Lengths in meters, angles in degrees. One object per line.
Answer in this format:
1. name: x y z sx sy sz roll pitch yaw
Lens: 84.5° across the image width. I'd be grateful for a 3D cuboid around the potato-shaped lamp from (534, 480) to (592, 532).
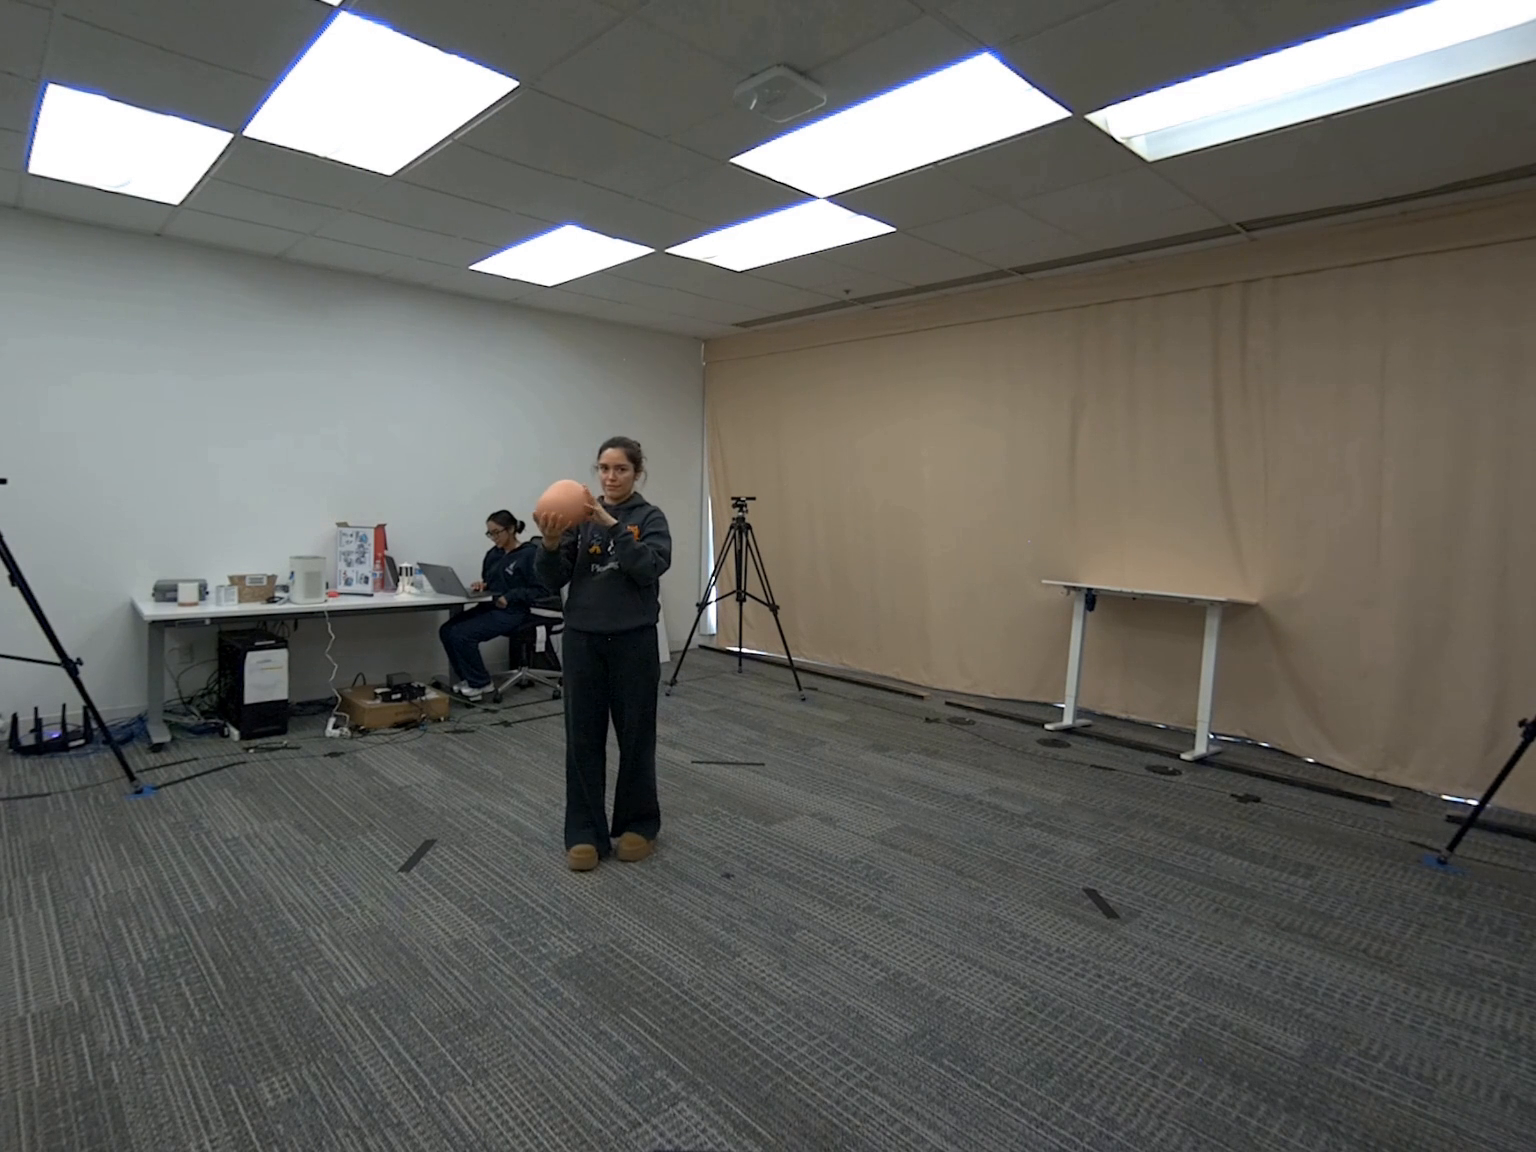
1. potato-shaped lamp: -0.737 -0.241 2.952 0.175 0.162 0.197 -3 24 33
